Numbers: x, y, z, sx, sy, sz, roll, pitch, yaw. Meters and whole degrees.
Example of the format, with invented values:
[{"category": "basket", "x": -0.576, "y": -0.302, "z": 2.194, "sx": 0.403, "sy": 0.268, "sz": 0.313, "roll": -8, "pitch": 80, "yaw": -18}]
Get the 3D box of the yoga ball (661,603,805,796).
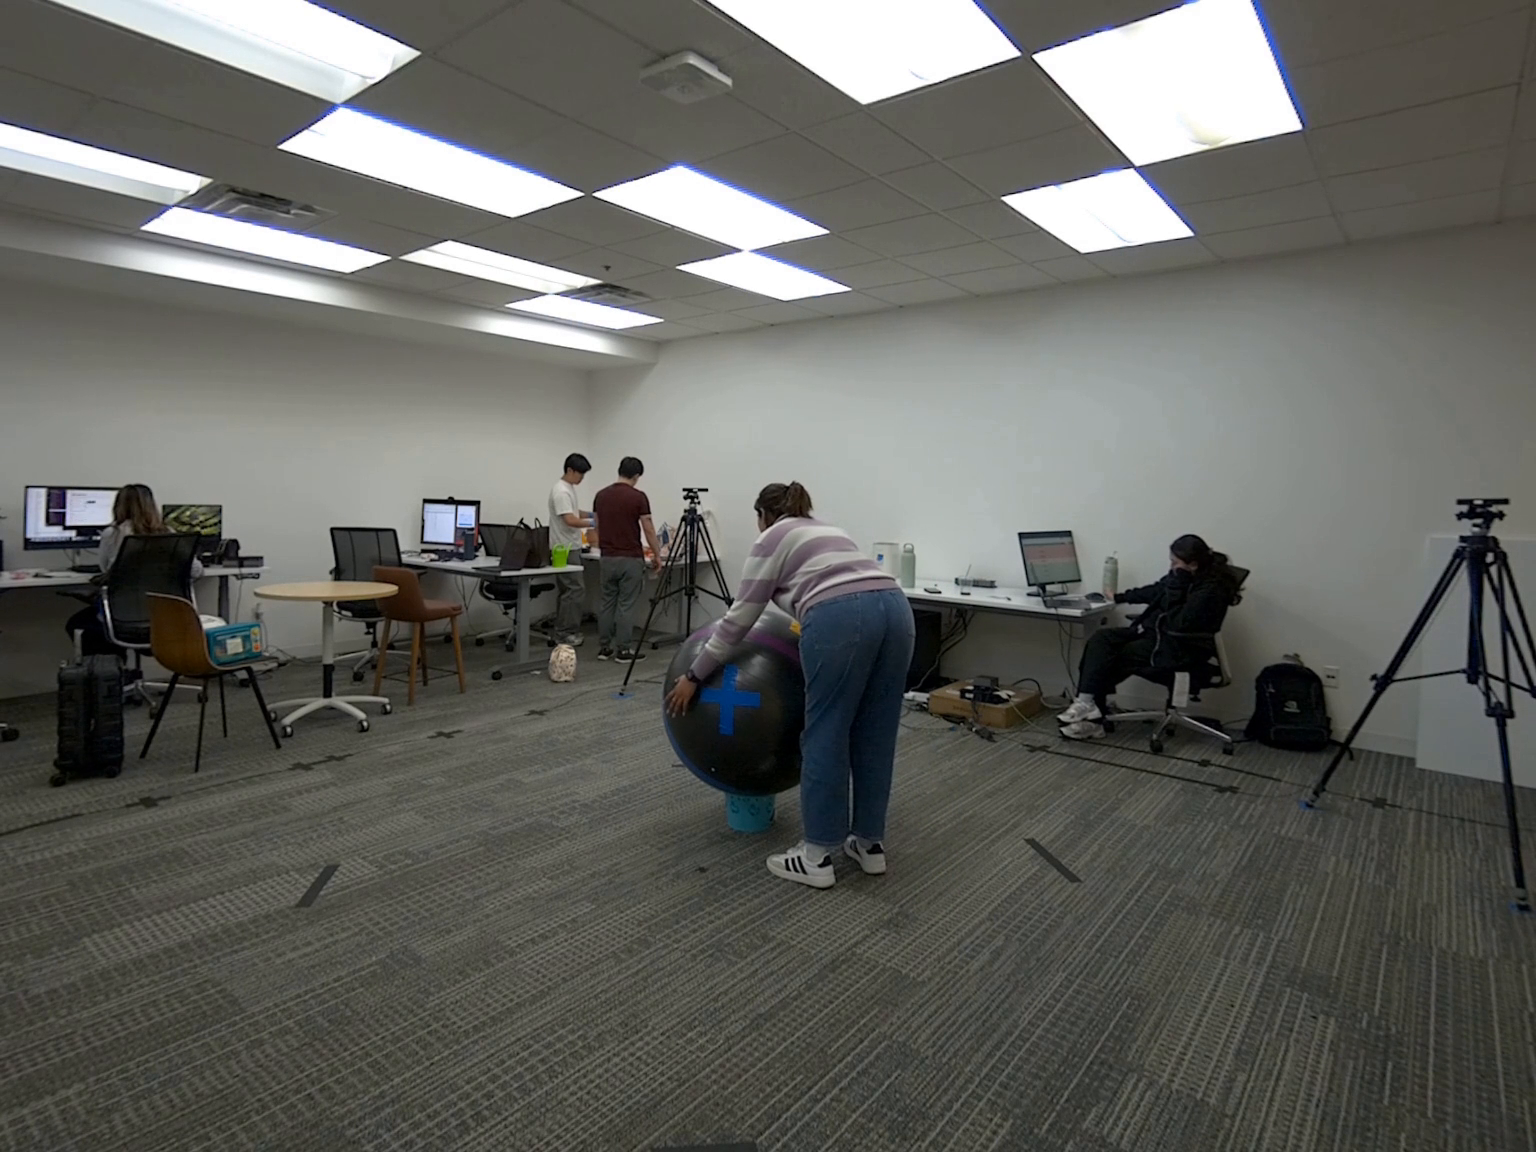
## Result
[{"category": "yoga ball", "x": -0.076, "y": 0.519, "z": 3.537, "sx": 0.757, "sy": 0.756, "sz": 0.761, "roll": 1, "pitch": 4, "yaw": -2}]
